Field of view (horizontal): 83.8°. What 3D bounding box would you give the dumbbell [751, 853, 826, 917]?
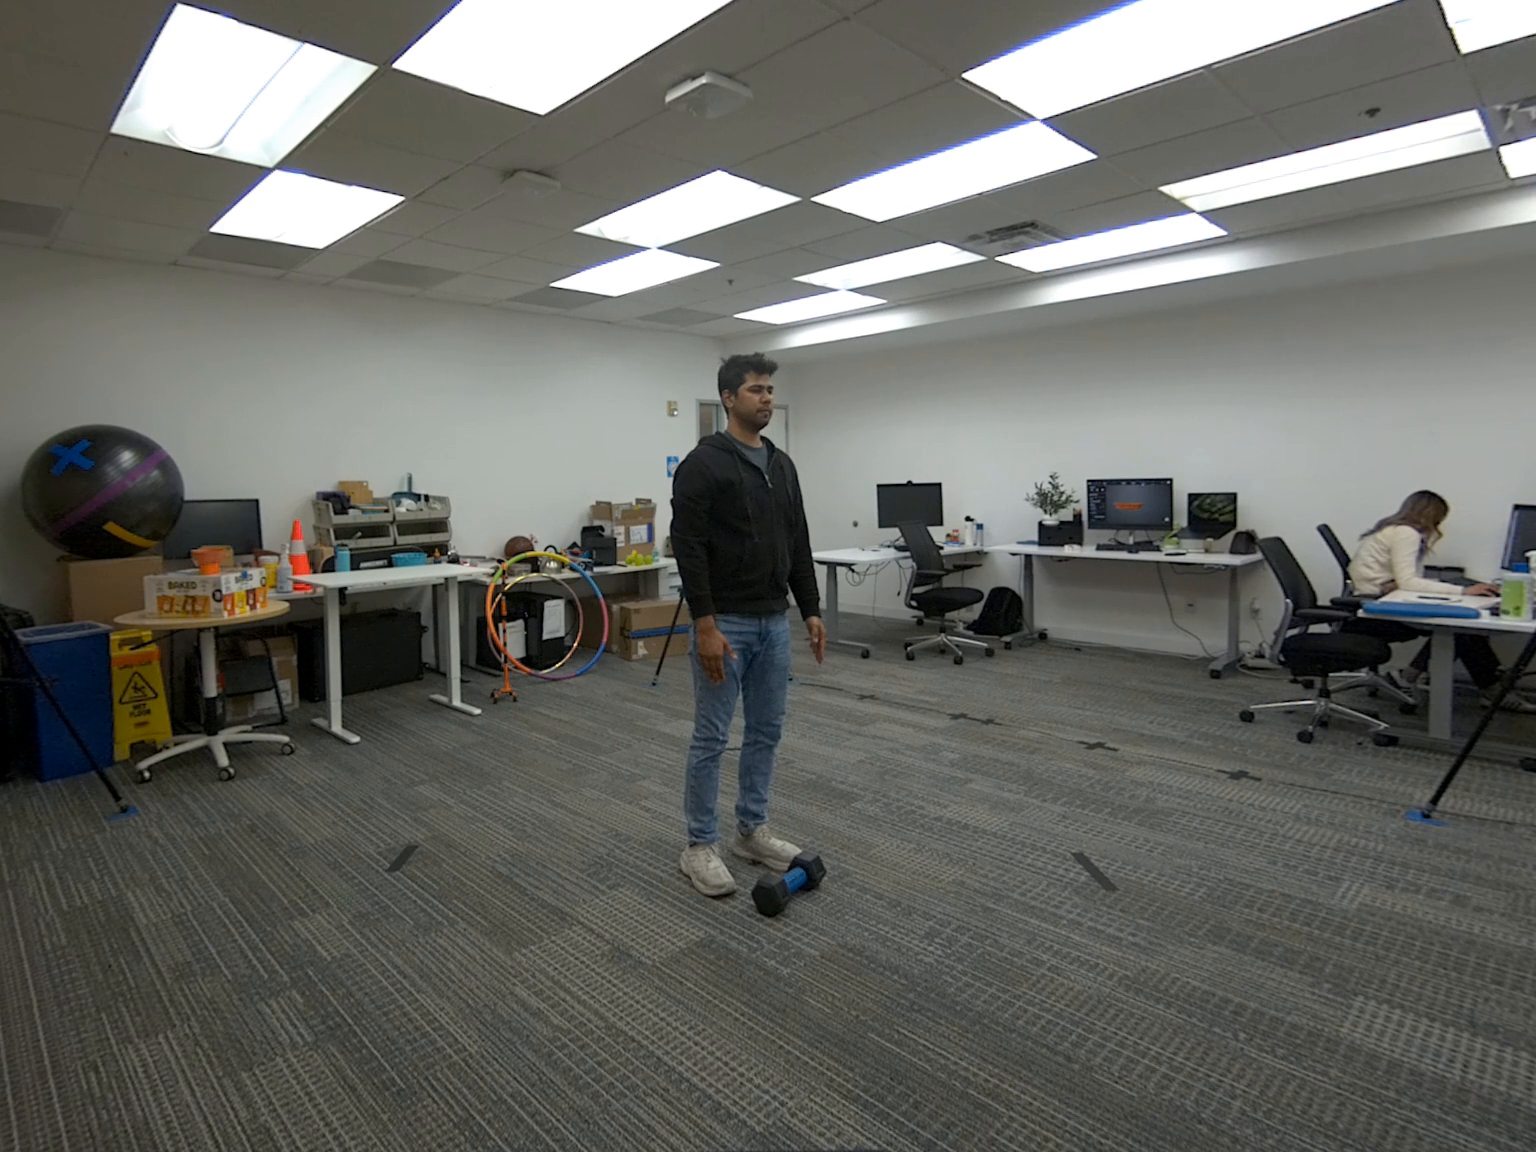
[{"bbox_3d":[0.073,1.013,2.844,0.112,0.122,0.286,36,26,29],"label":"dumbbell"}]
